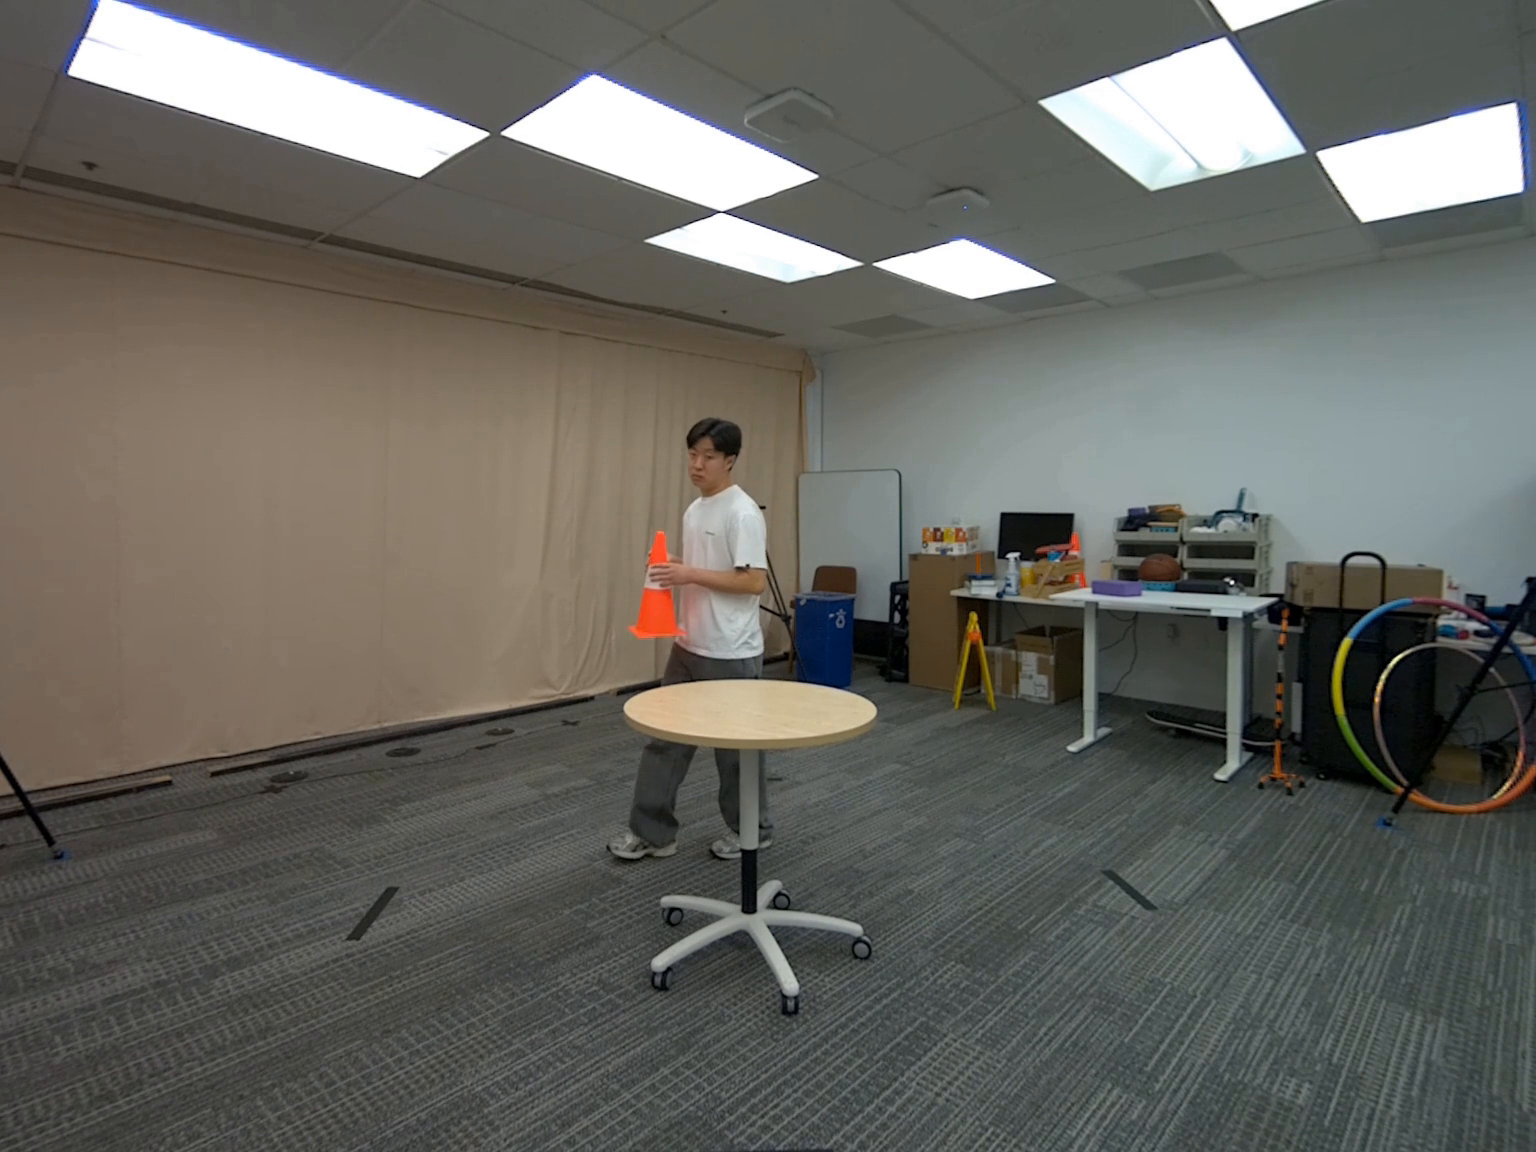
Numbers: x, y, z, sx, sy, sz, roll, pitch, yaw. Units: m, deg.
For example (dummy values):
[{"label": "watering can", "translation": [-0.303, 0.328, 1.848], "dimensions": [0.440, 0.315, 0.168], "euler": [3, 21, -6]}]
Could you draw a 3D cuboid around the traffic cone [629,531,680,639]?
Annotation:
[{"label": "traffic cone", "translation": [-0.422, 0.020, 3.225], "dimensions": [0.206, 0.382, 0.203], "euler": [4, 7, 6]}]
